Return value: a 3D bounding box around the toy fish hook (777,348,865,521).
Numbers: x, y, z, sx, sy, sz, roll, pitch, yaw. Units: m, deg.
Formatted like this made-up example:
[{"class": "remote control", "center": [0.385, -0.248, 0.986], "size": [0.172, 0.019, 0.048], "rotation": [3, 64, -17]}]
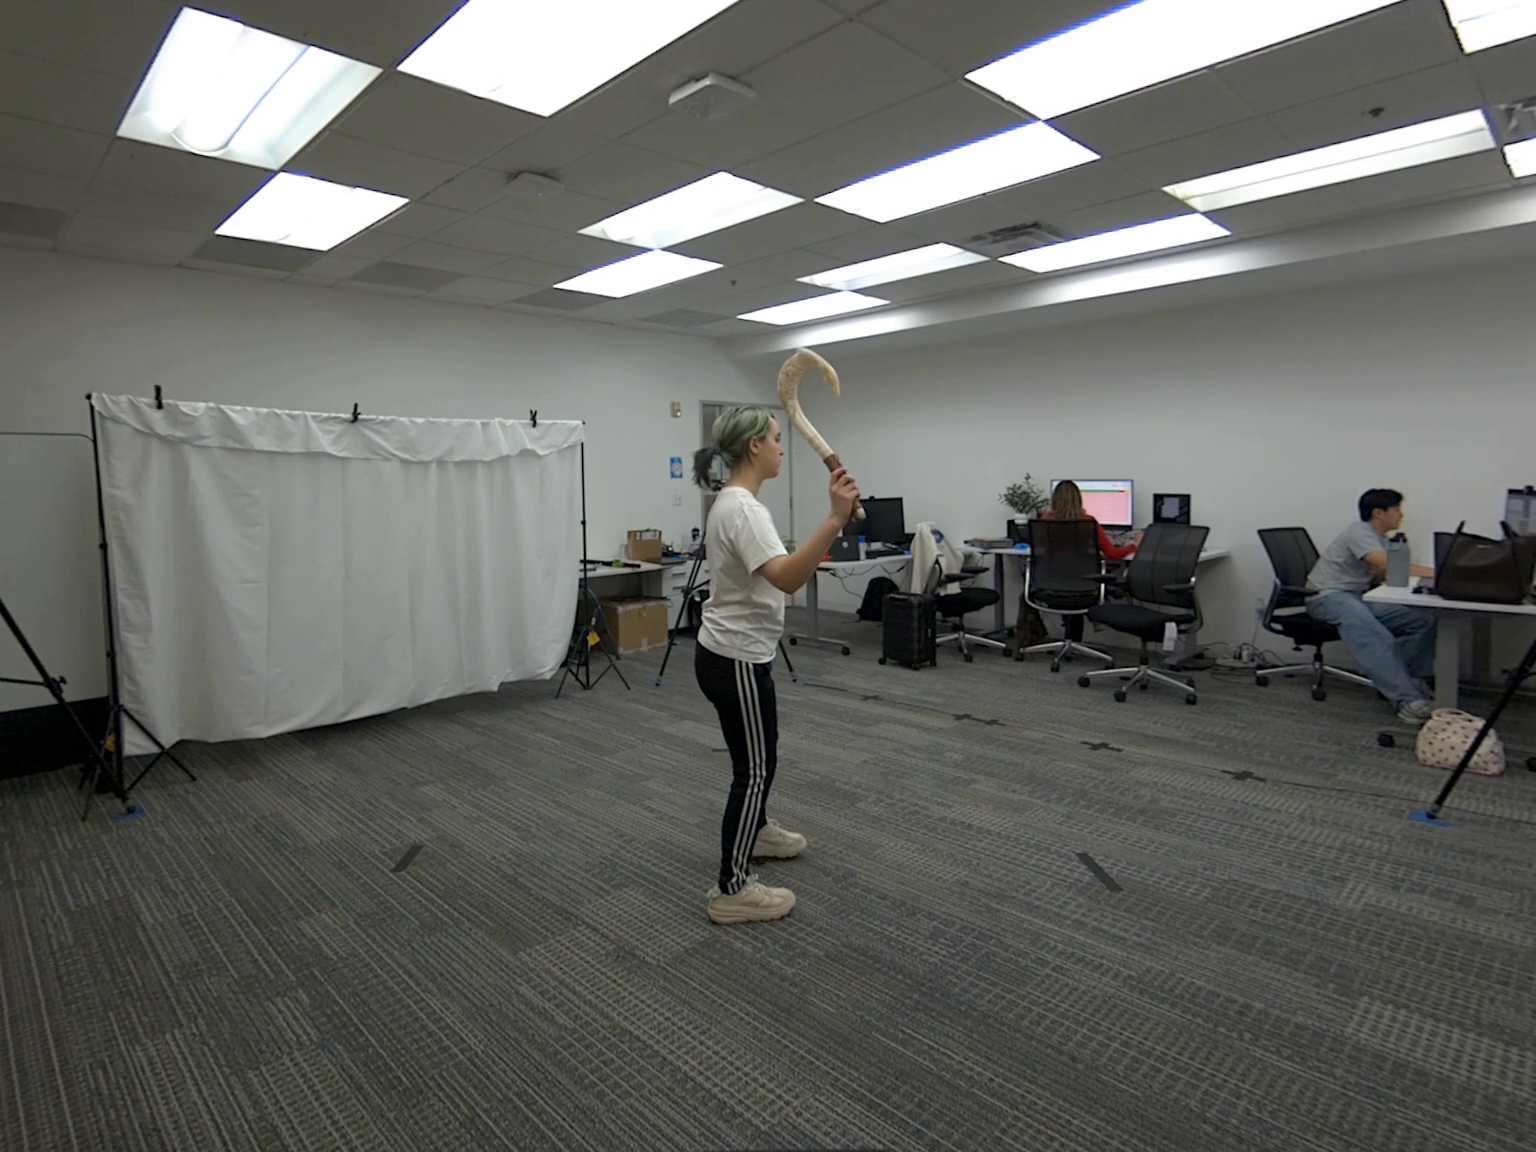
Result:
[{"class": "toy fish hook", "center": [0.182, -0.392, 2.350], "size": [0.047, 0.516, 0.225], "rotation": [-15, -17, -35]}]
